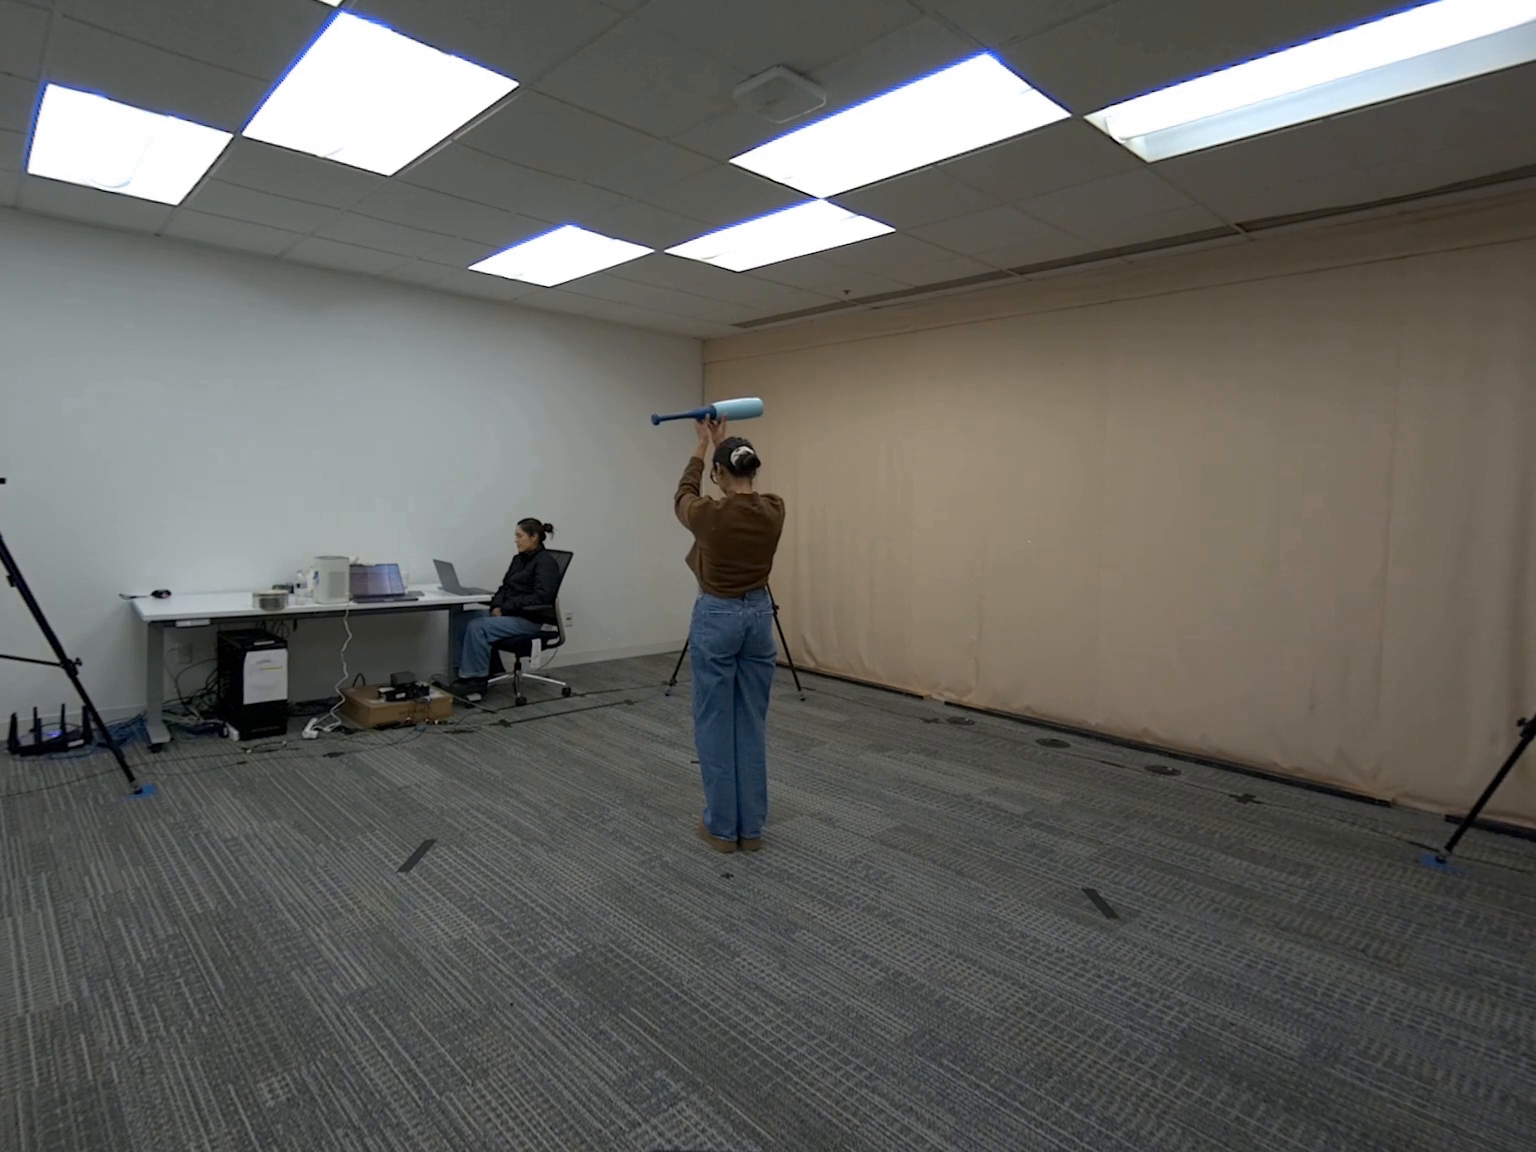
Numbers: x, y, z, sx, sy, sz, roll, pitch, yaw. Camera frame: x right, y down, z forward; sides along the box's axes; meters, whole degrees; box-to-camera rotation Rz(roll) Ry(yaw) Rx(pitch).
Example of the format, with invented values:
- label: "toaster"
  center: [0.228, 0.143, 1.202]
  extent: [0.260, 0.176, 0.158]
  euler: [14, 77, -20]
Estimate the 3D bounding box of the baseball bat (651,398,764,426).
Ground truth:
- label: "baseball bat"
  center: [-0.256, -0.692, 3.555]
  extent: [0.534, 0.088, 0.091]
  euler: [-14, 12, -34]
